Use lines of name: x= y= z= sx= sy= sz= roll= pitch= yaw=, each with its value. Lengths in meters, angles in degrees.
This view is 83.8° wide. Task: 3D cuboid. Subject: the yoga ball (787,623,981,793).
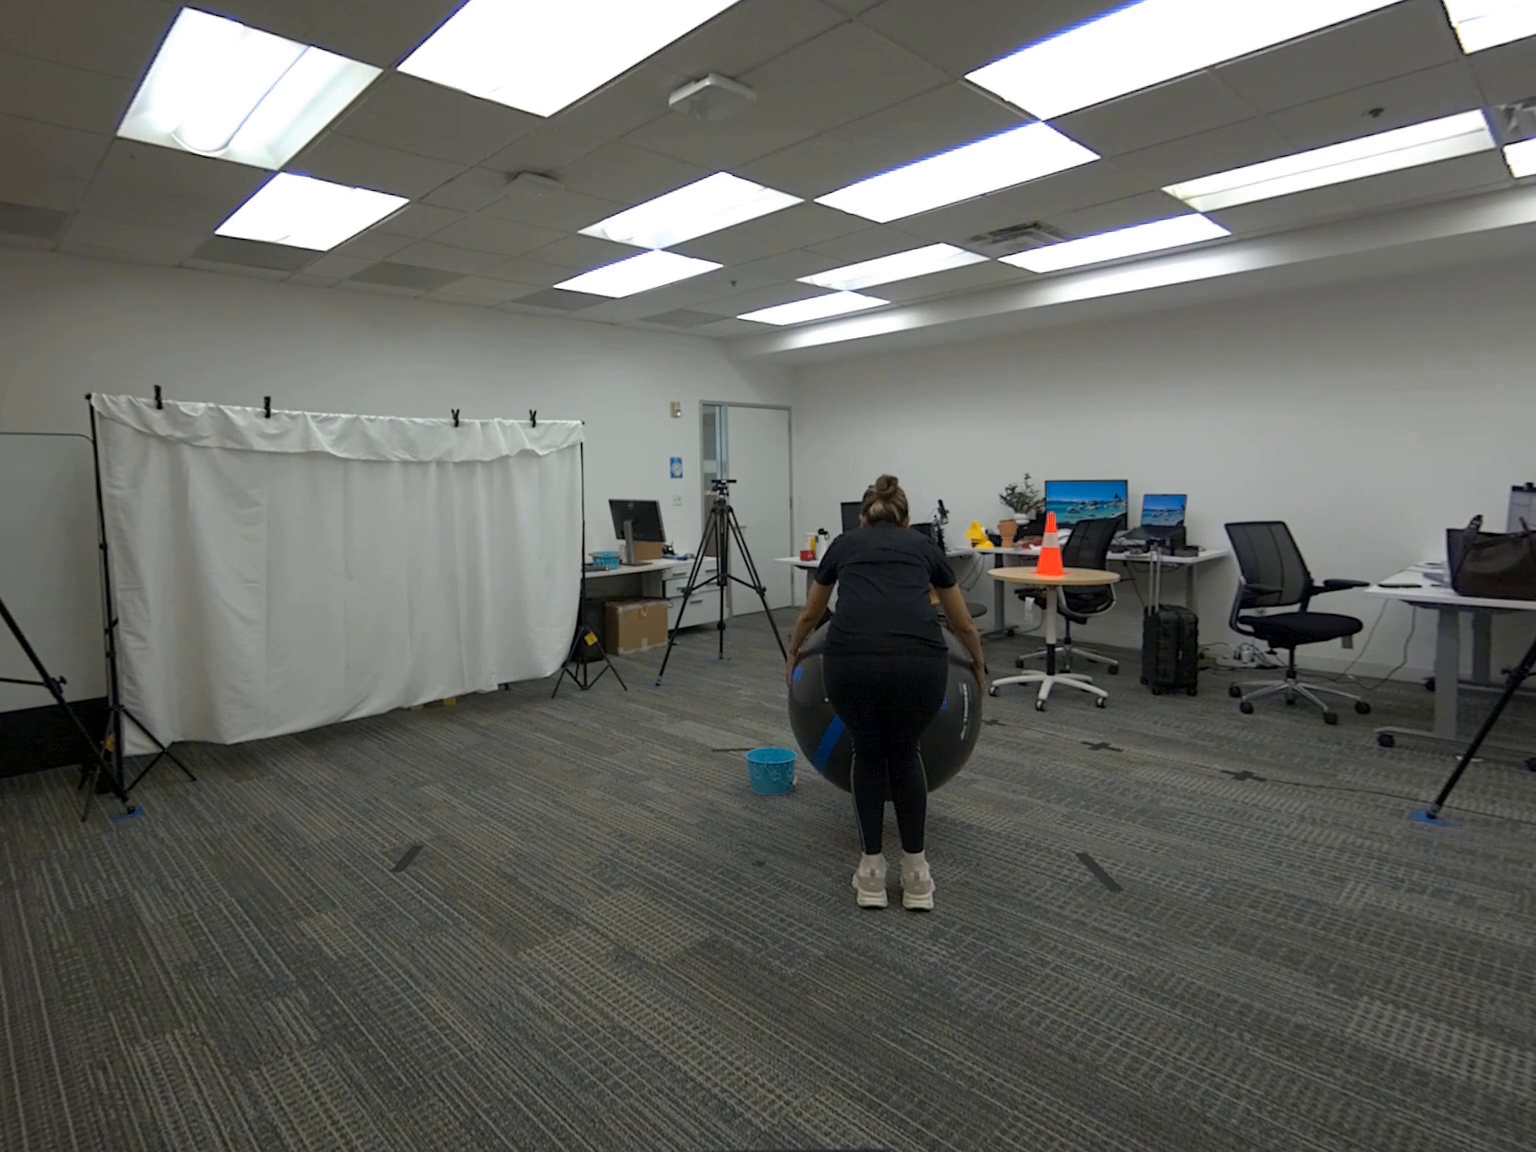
yoga ball: x=0.460 y=0.495 z=3.383 sx=0.757 sy=0.755 sz=0.762 roll=-1 pitch=5 yaw=-2
